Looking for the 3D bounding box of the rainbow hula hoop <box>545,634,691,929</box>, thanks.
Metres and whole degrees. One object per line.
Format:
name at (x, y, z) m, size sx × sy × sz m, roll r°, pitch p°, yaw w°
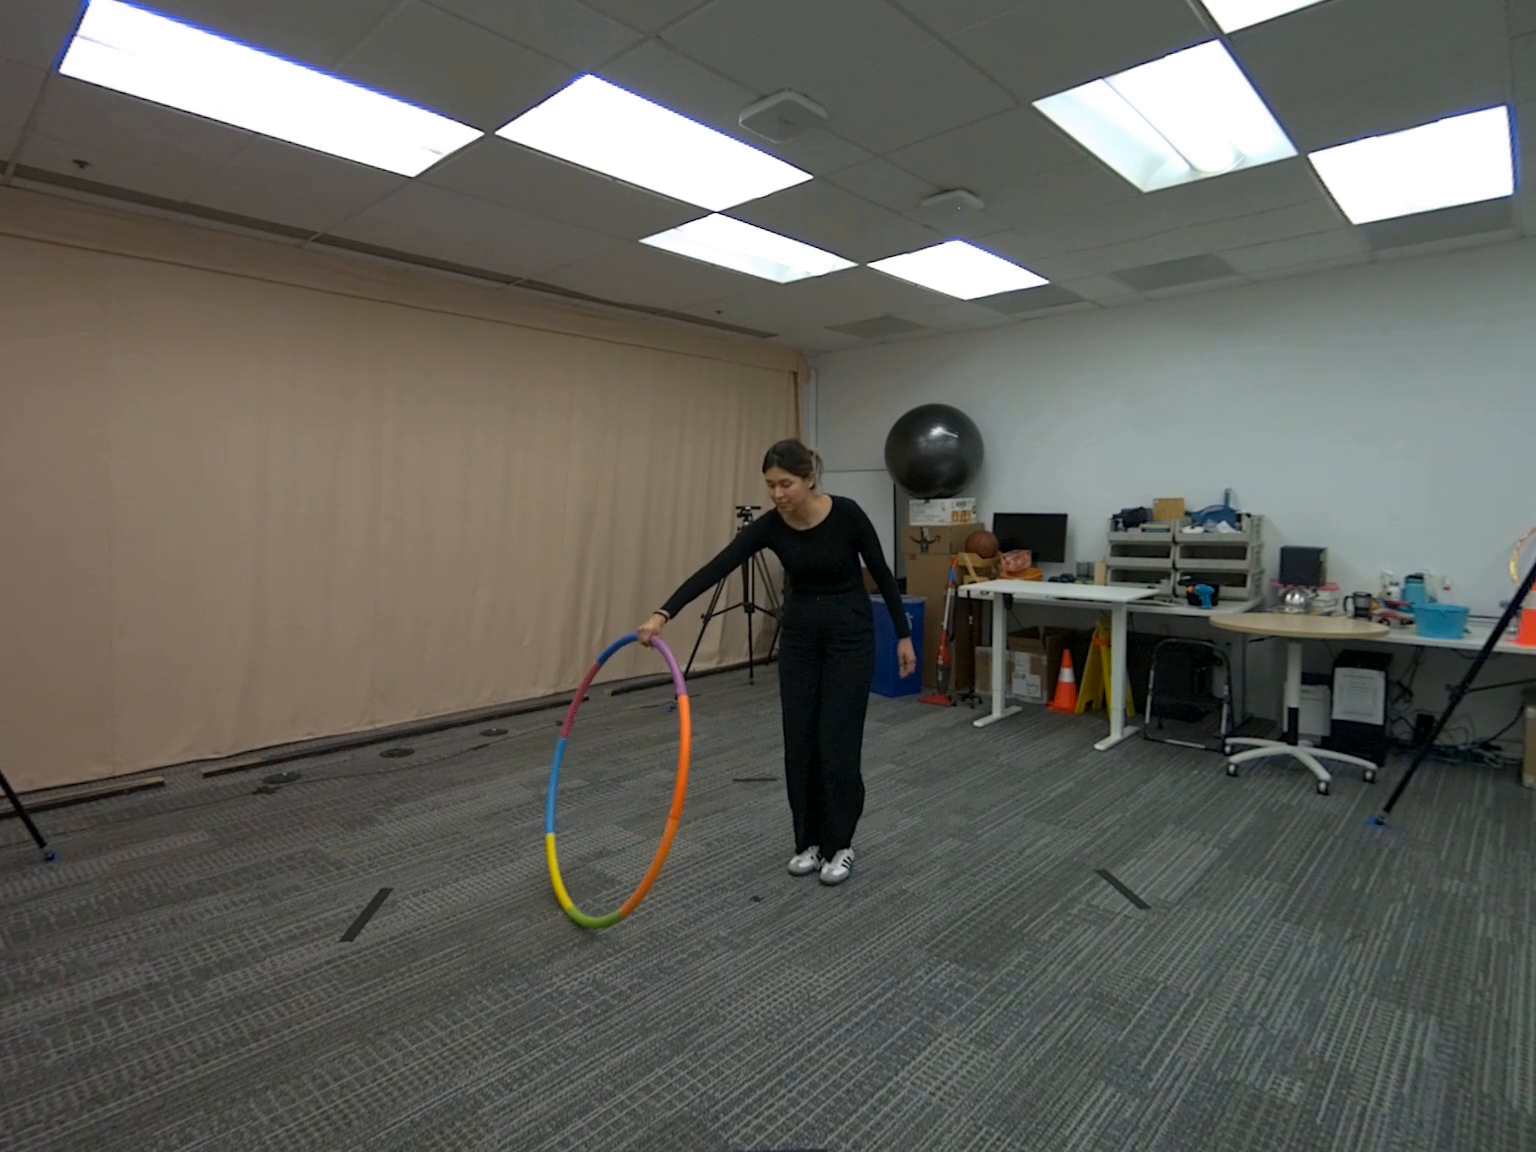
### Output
rainbow hula hoop at (-0.533, 0.682, 2.920) m, size 0.034 × 0.980 × 1.008 m, roll 20°, pitch -7°, yaw -32°
